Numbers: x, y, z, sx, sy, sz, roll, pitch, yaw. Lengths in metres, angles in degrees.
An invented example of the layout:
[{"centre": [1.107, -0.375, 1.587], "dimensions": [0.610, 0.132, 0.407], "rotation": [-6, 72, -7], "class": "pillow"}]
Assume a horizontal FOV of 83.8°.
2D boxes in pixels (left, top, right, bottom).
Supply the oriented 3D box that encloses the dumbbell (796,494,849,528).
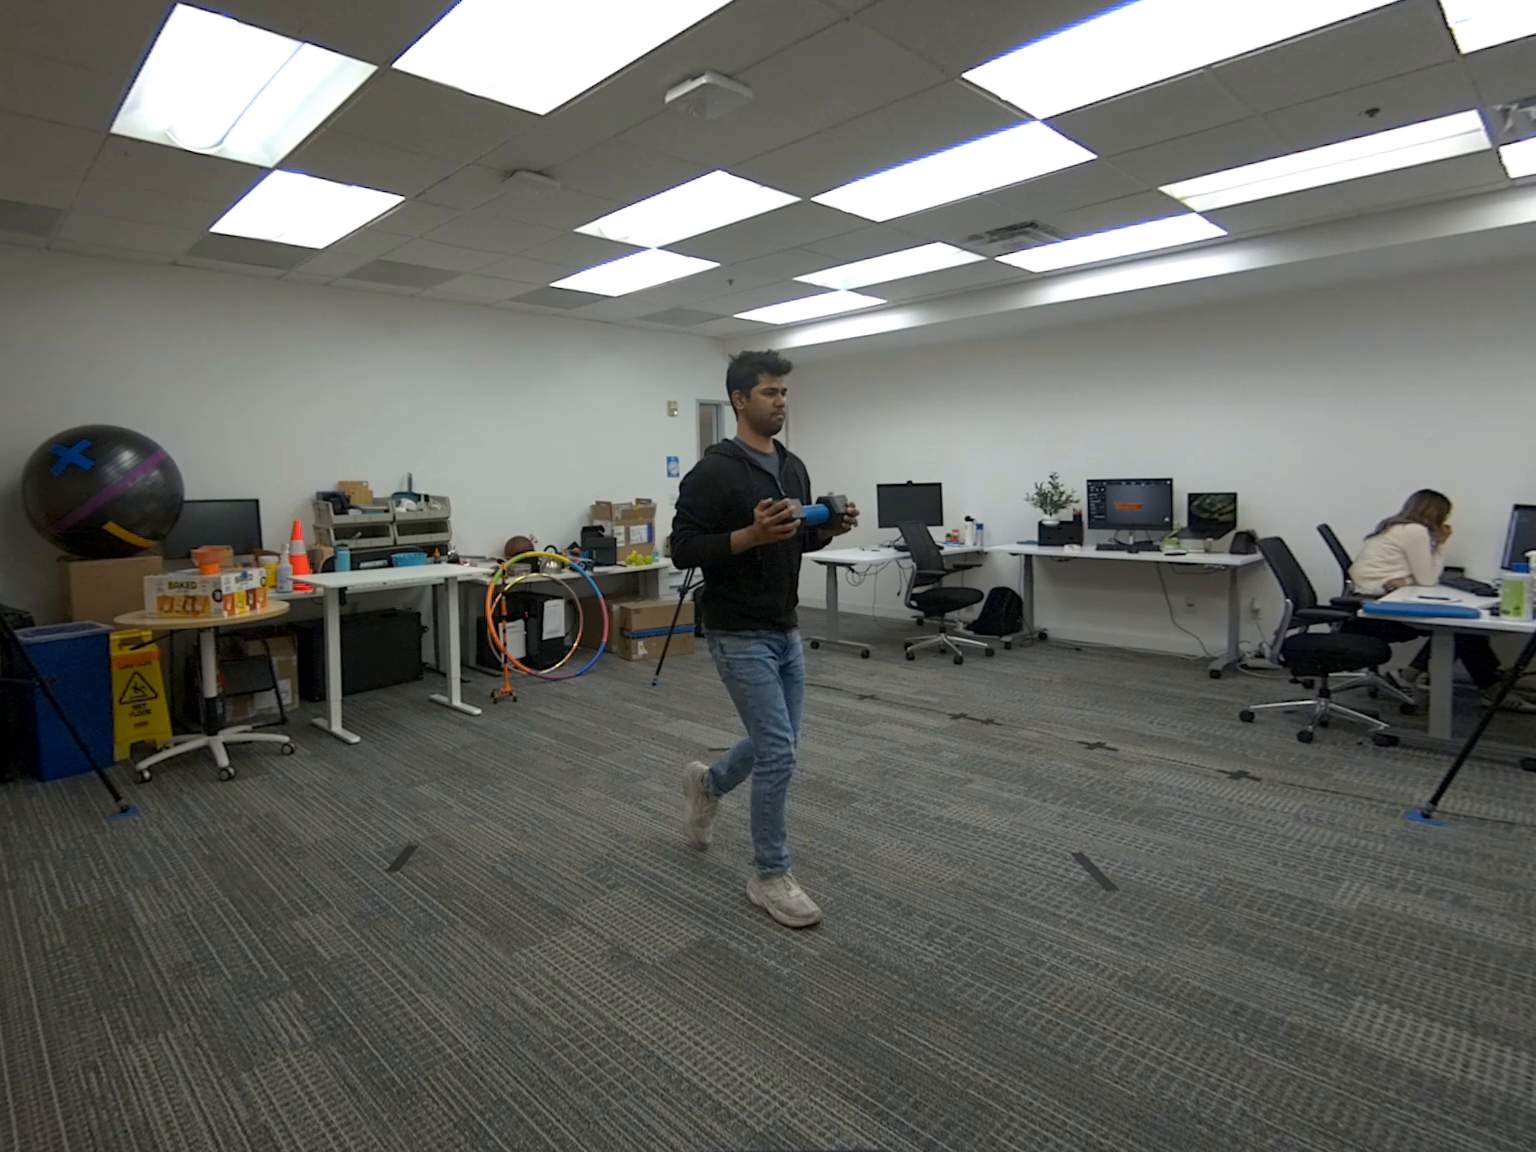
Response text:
[{"centre": [0.117, -0.173, 2.650], "dimensions": [0.286, 0.121, 0.113], "rotation": [-8, 35, -41], "class": "dumbbell"}]
